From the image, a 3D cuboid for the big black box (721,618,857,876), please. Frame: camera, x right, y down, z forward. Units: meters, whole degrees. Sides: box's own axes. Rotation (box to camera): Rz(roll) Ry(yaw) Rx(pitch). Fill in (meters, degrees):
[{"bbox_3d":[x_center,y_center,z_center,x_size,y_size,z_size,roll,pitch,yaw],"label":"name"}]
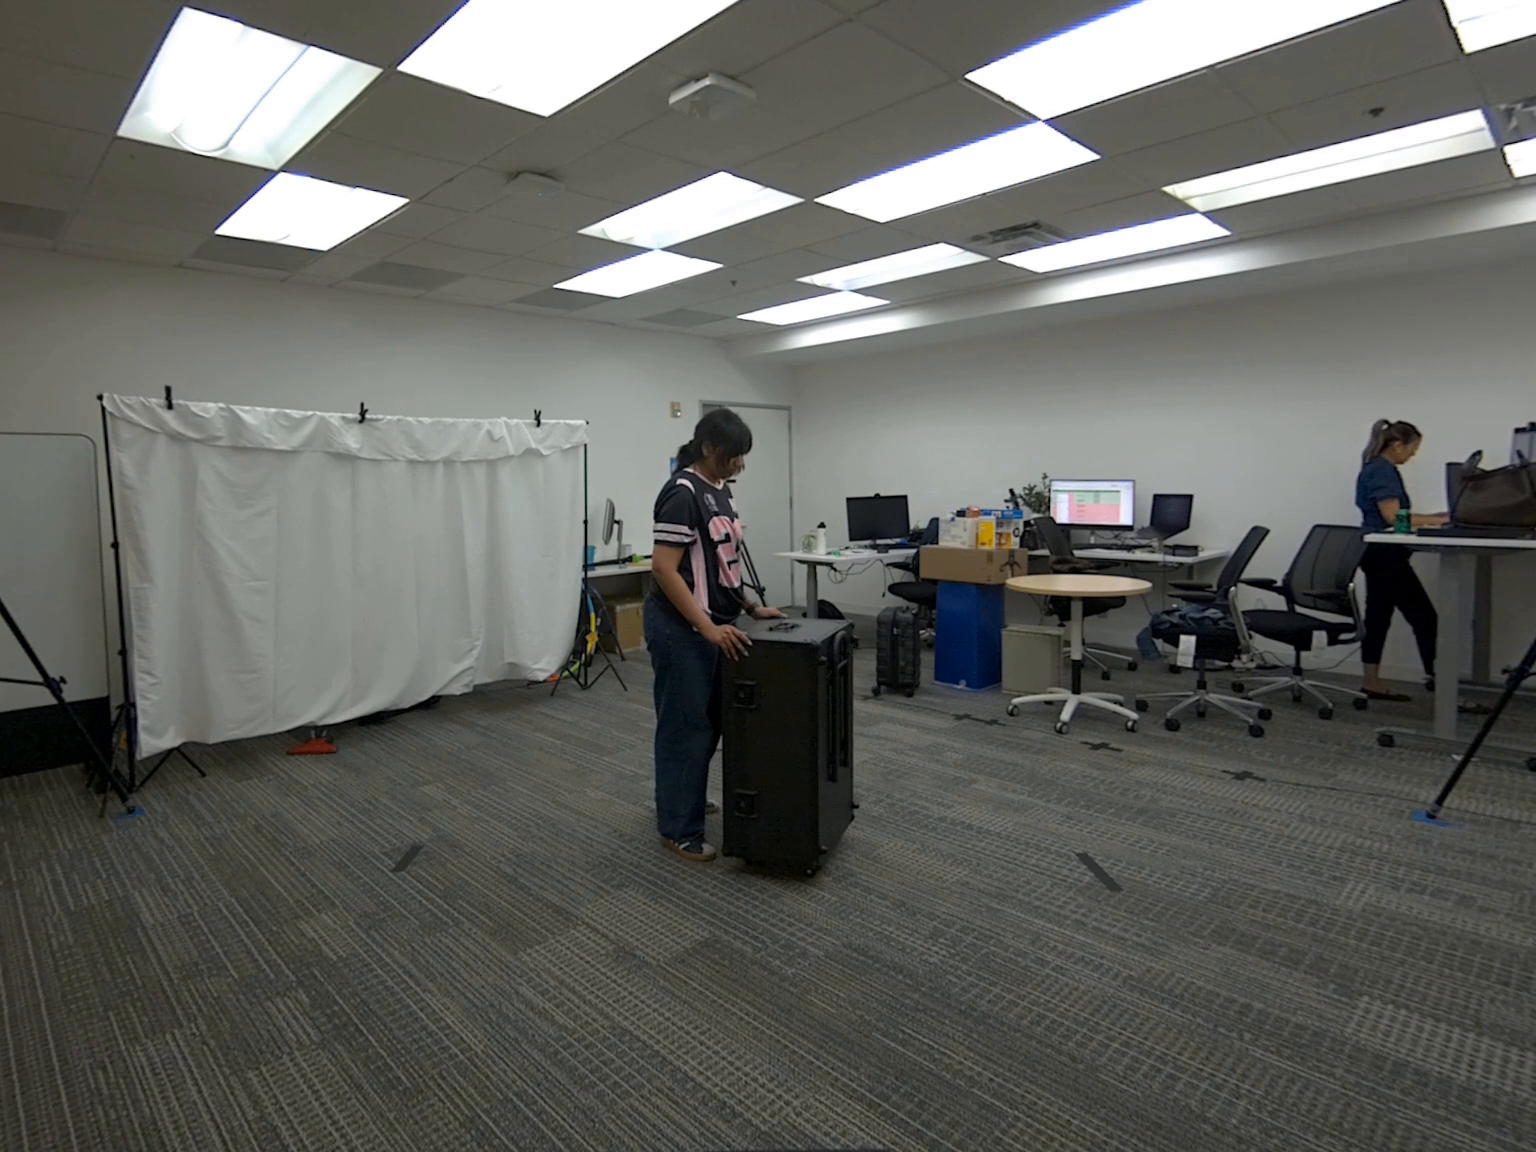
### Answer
[{"bbox_3d":[0.097,0.616,3.145,0.404,0.858,0.513,2,5,21],"label":"big black box"}]
